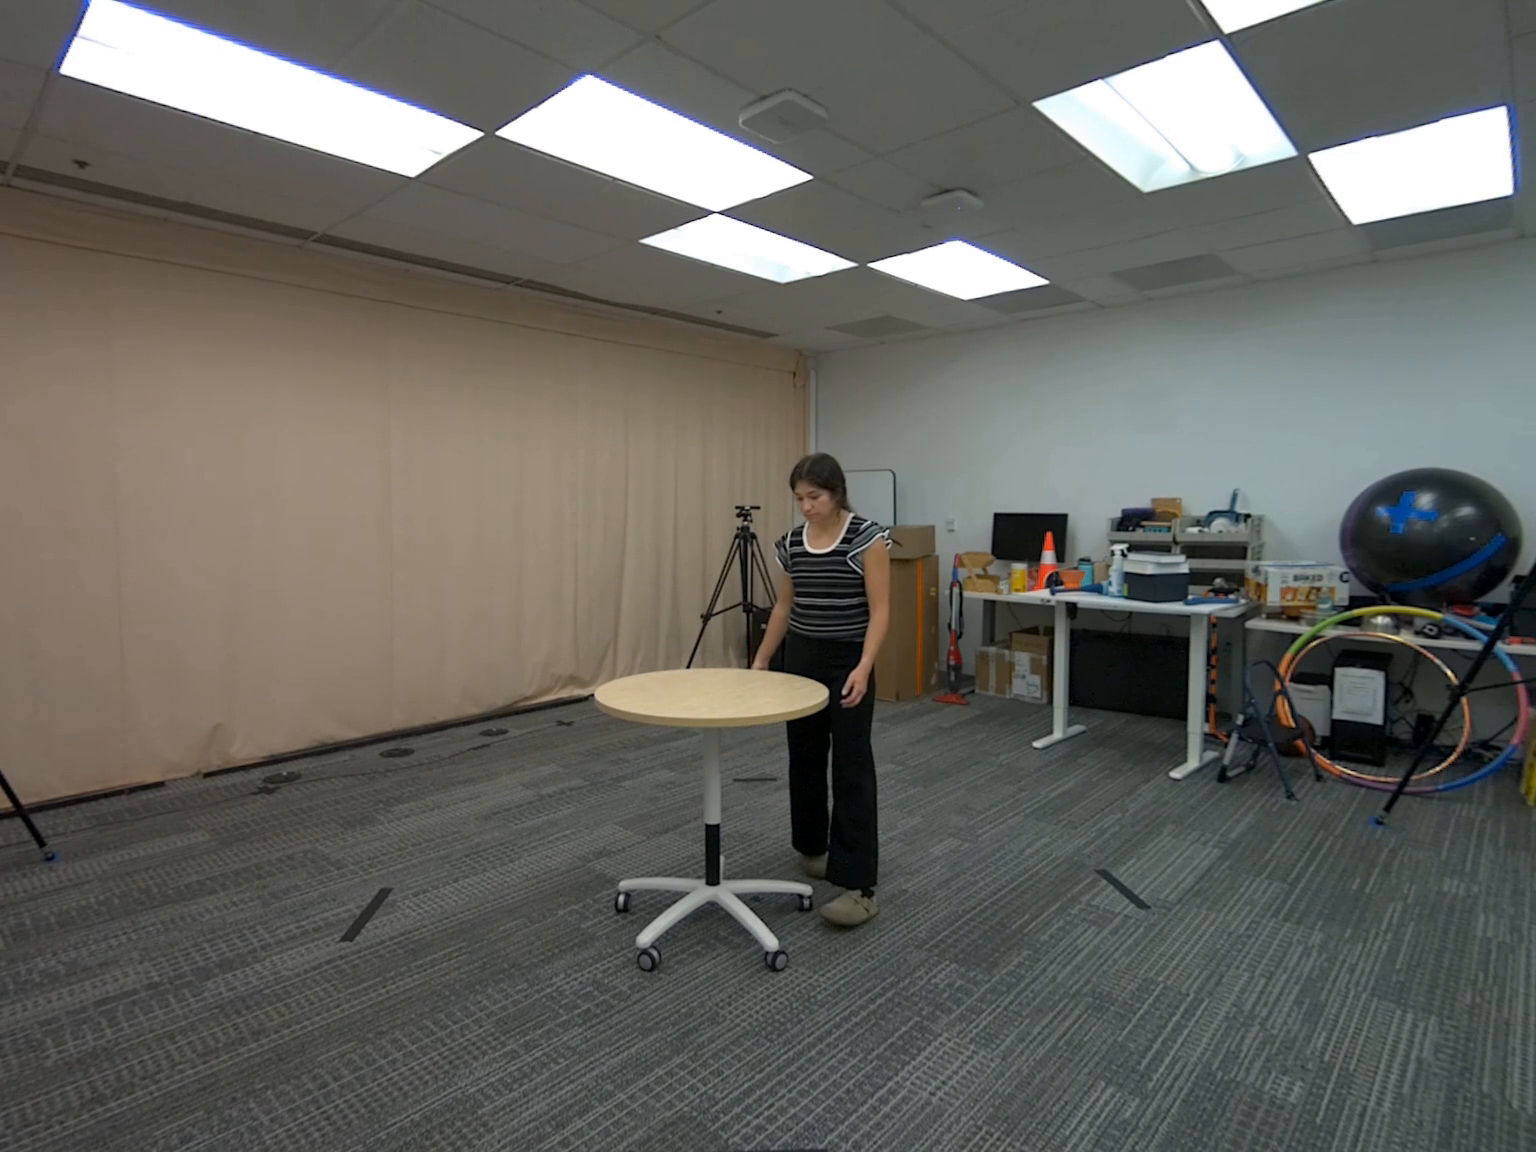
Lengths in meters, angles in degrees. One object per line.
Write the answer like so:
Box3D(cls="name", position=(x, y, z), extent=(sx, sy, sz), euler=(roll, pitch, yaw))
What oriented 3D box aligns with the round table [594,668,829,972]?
Box3D(cls="round table", position=(-0.173, 0.767, 2.784), extent=(0.784, 0.784, 0.788), euler=(-1, 4, -2))
